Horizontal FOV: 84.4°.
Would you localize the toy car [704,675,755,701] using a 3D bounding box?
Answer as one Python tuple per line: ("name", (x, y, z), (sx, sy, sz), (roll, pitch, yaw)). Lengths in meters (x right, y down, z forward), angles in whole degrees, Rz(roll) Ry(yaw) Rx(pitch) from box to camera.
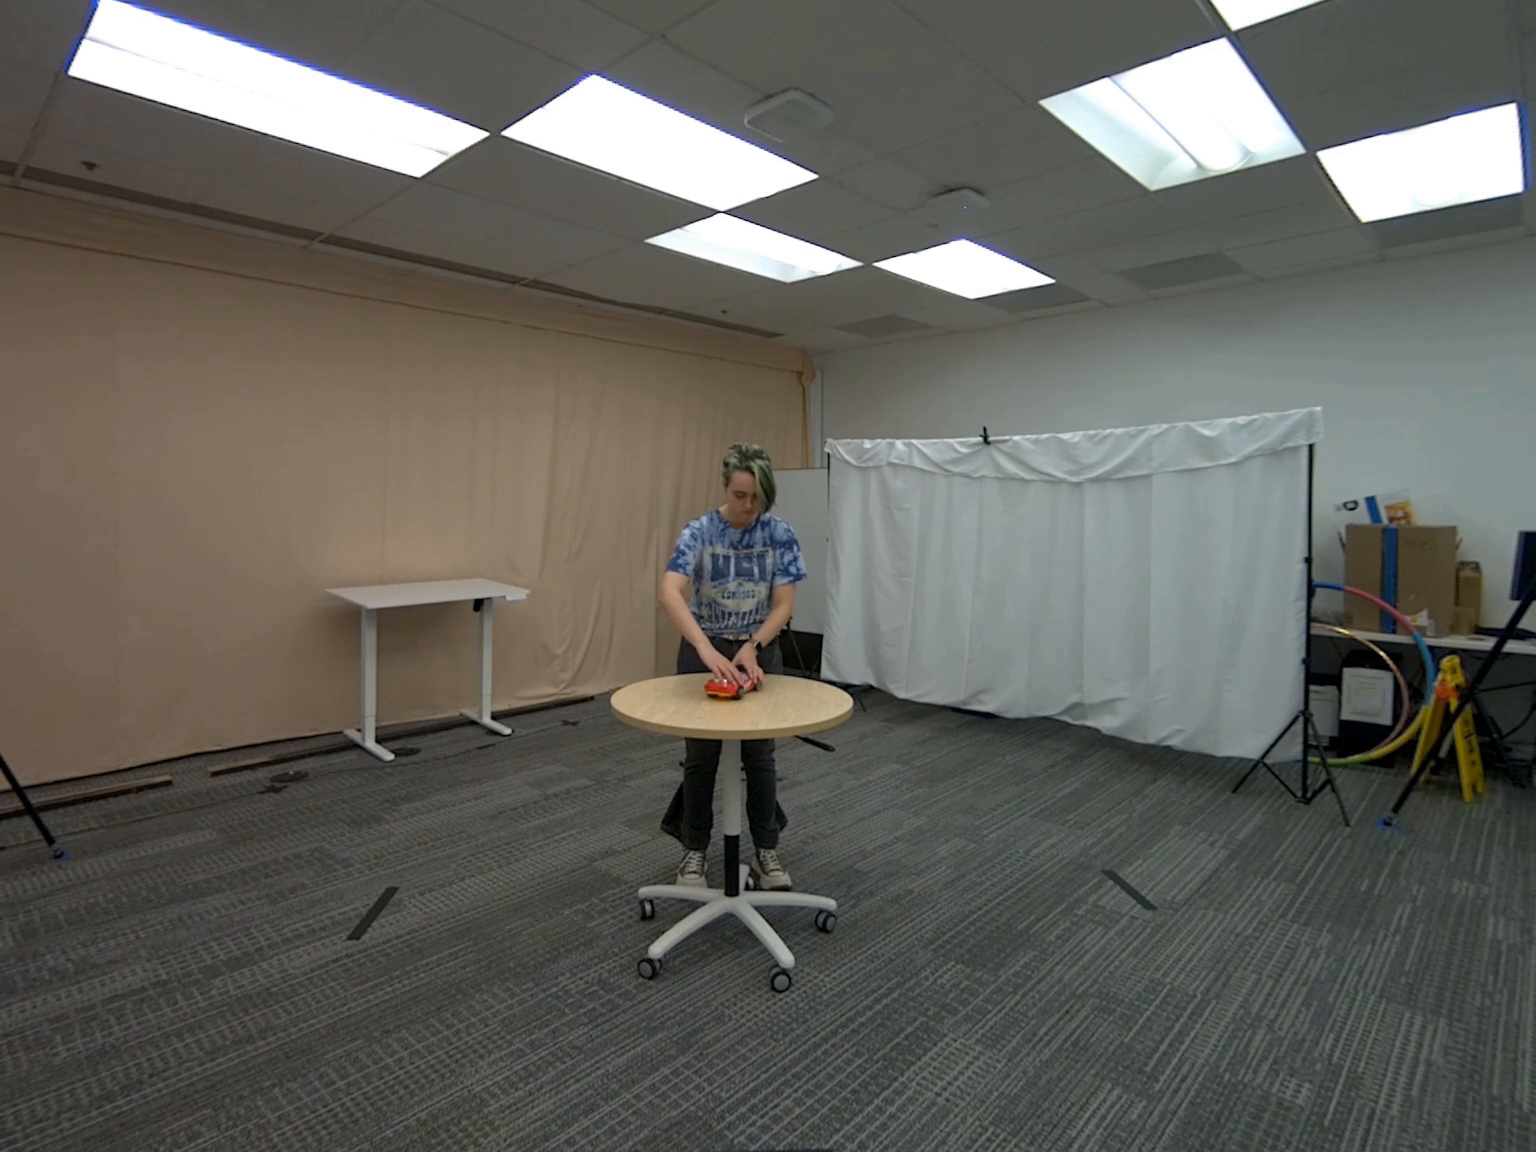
("toy car", (-0.117, 0.353, 2.714), (0.133, 0.083, 0.247), (2, -6, 23))
